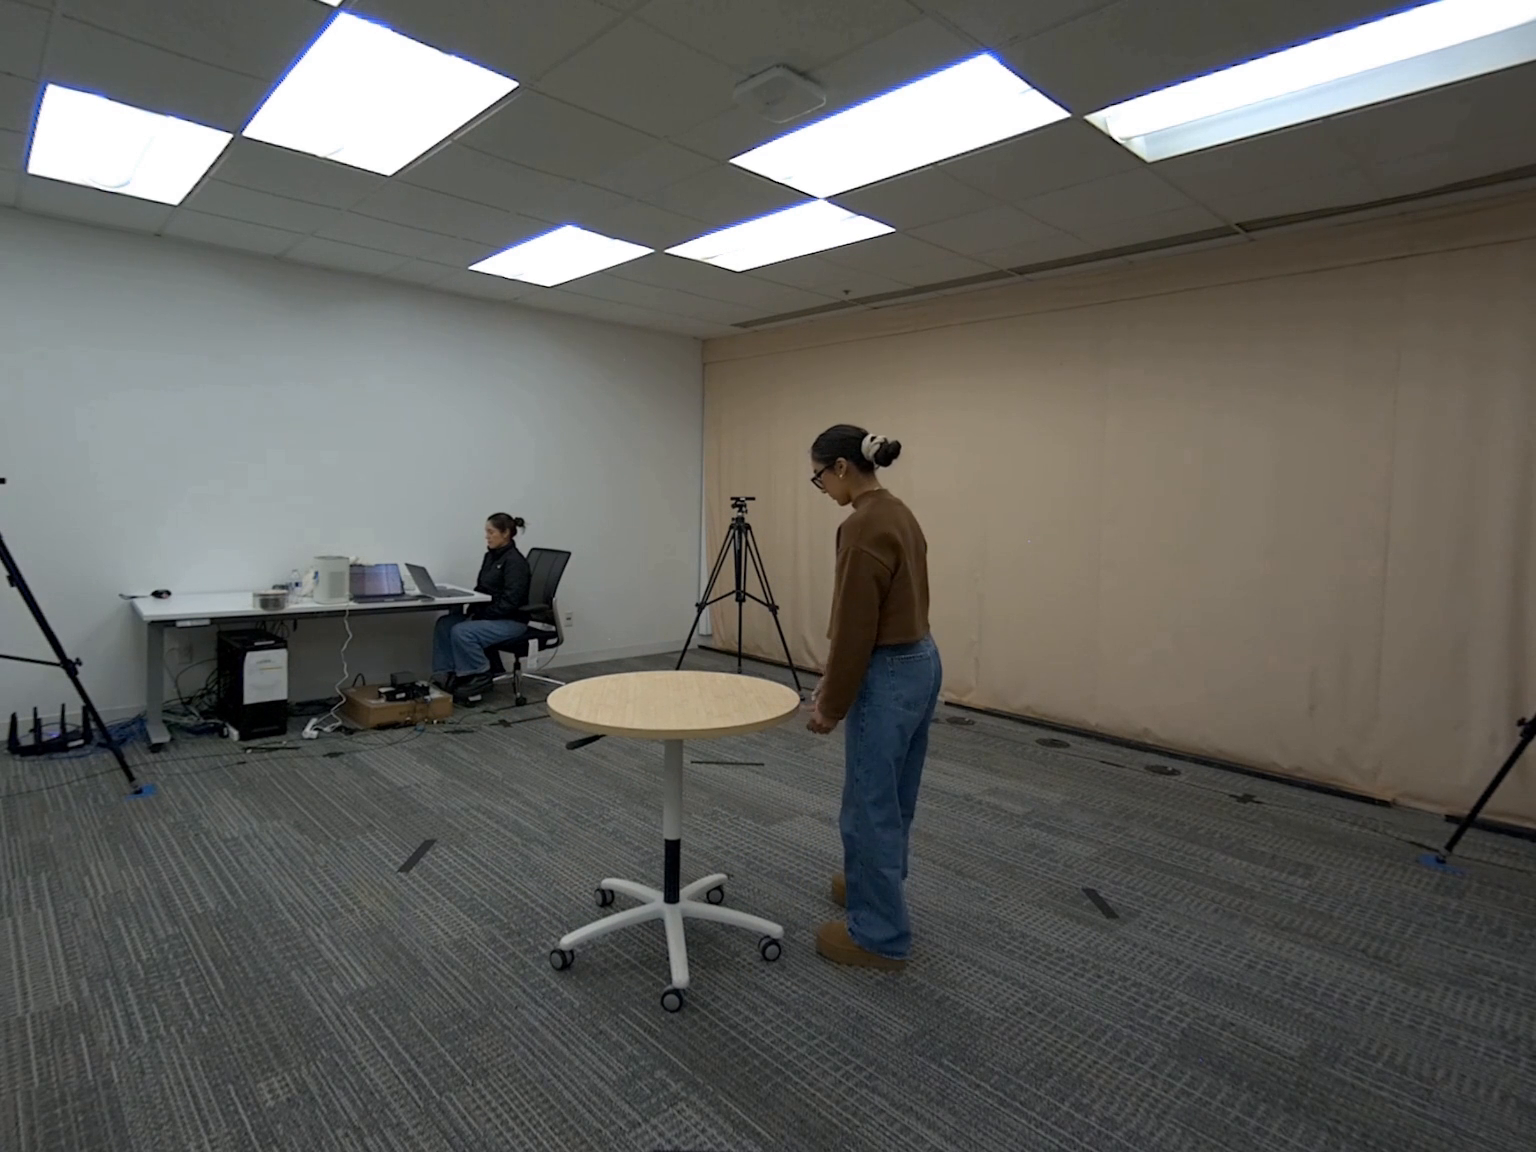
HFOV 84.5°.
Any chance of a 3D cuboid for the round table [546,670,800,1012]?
[{"bbox_3d":[-0.294,0.759,2.599,0.763,0.792,0.767,1,4,-1],"label":"round table"}]
